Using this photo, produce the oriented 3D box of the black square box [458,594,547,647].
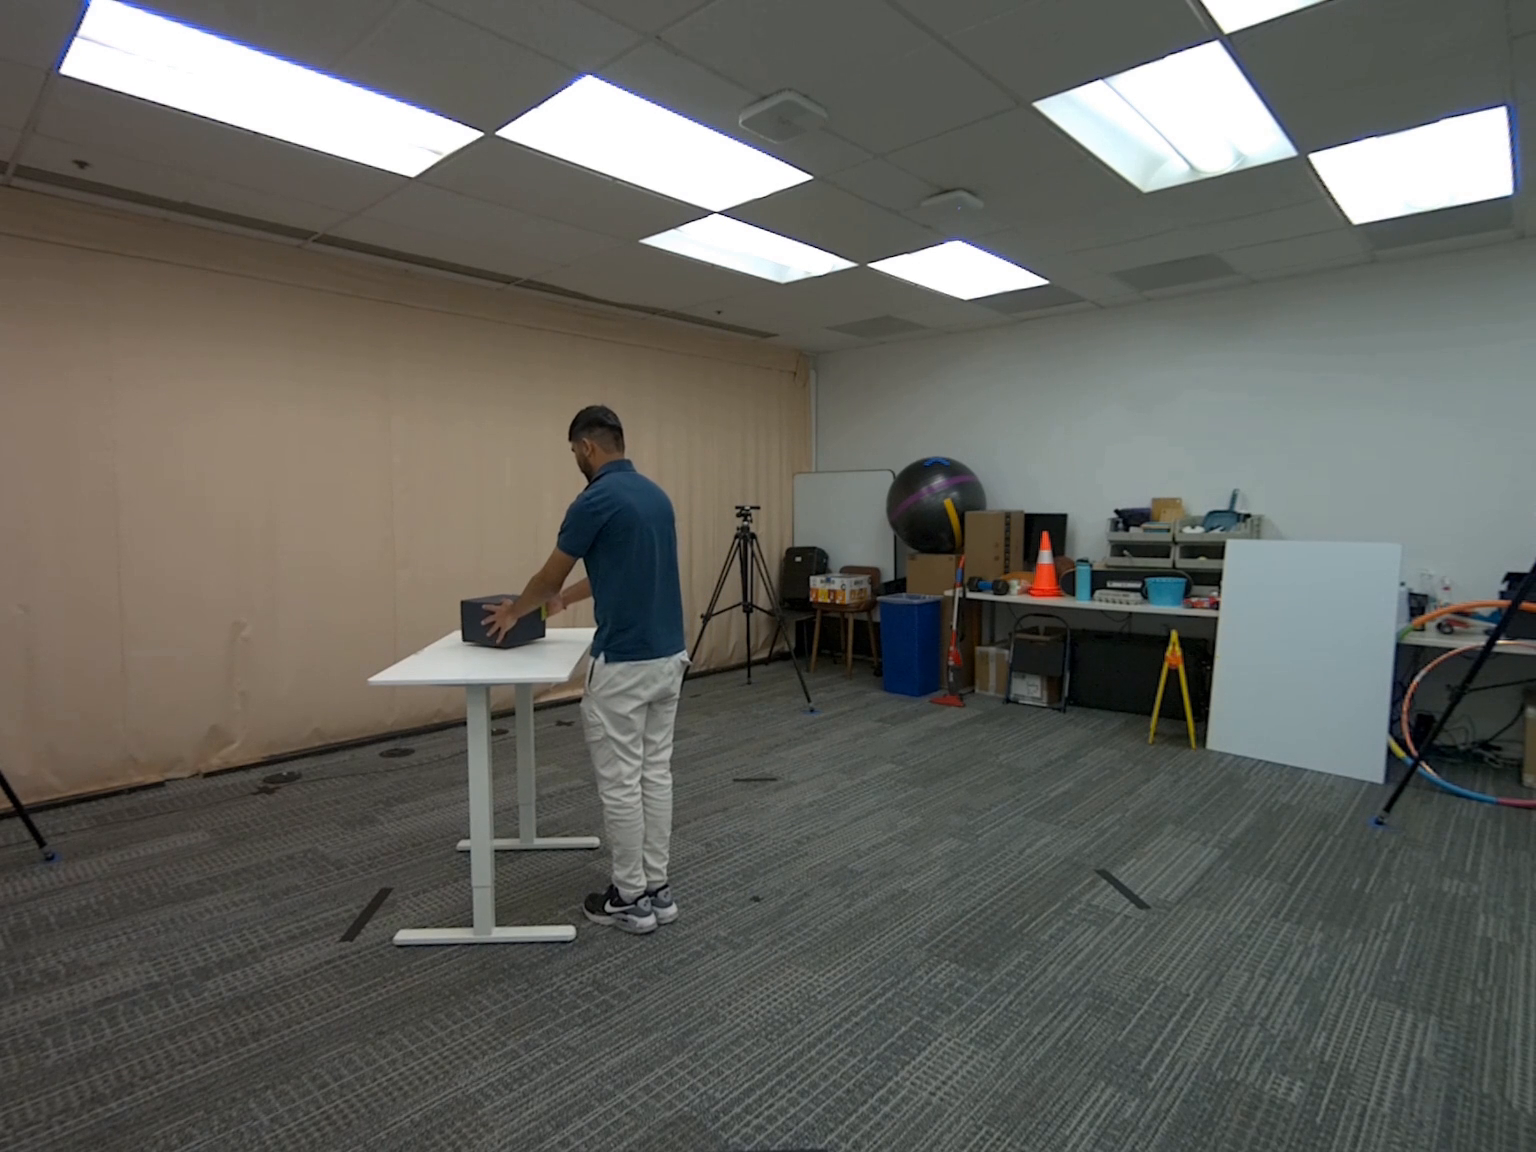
[{"bbox_3d":[-0.993,0.160,3.171,0.234,0.155,0.212,2,5,28],"label":"black square box"}]
